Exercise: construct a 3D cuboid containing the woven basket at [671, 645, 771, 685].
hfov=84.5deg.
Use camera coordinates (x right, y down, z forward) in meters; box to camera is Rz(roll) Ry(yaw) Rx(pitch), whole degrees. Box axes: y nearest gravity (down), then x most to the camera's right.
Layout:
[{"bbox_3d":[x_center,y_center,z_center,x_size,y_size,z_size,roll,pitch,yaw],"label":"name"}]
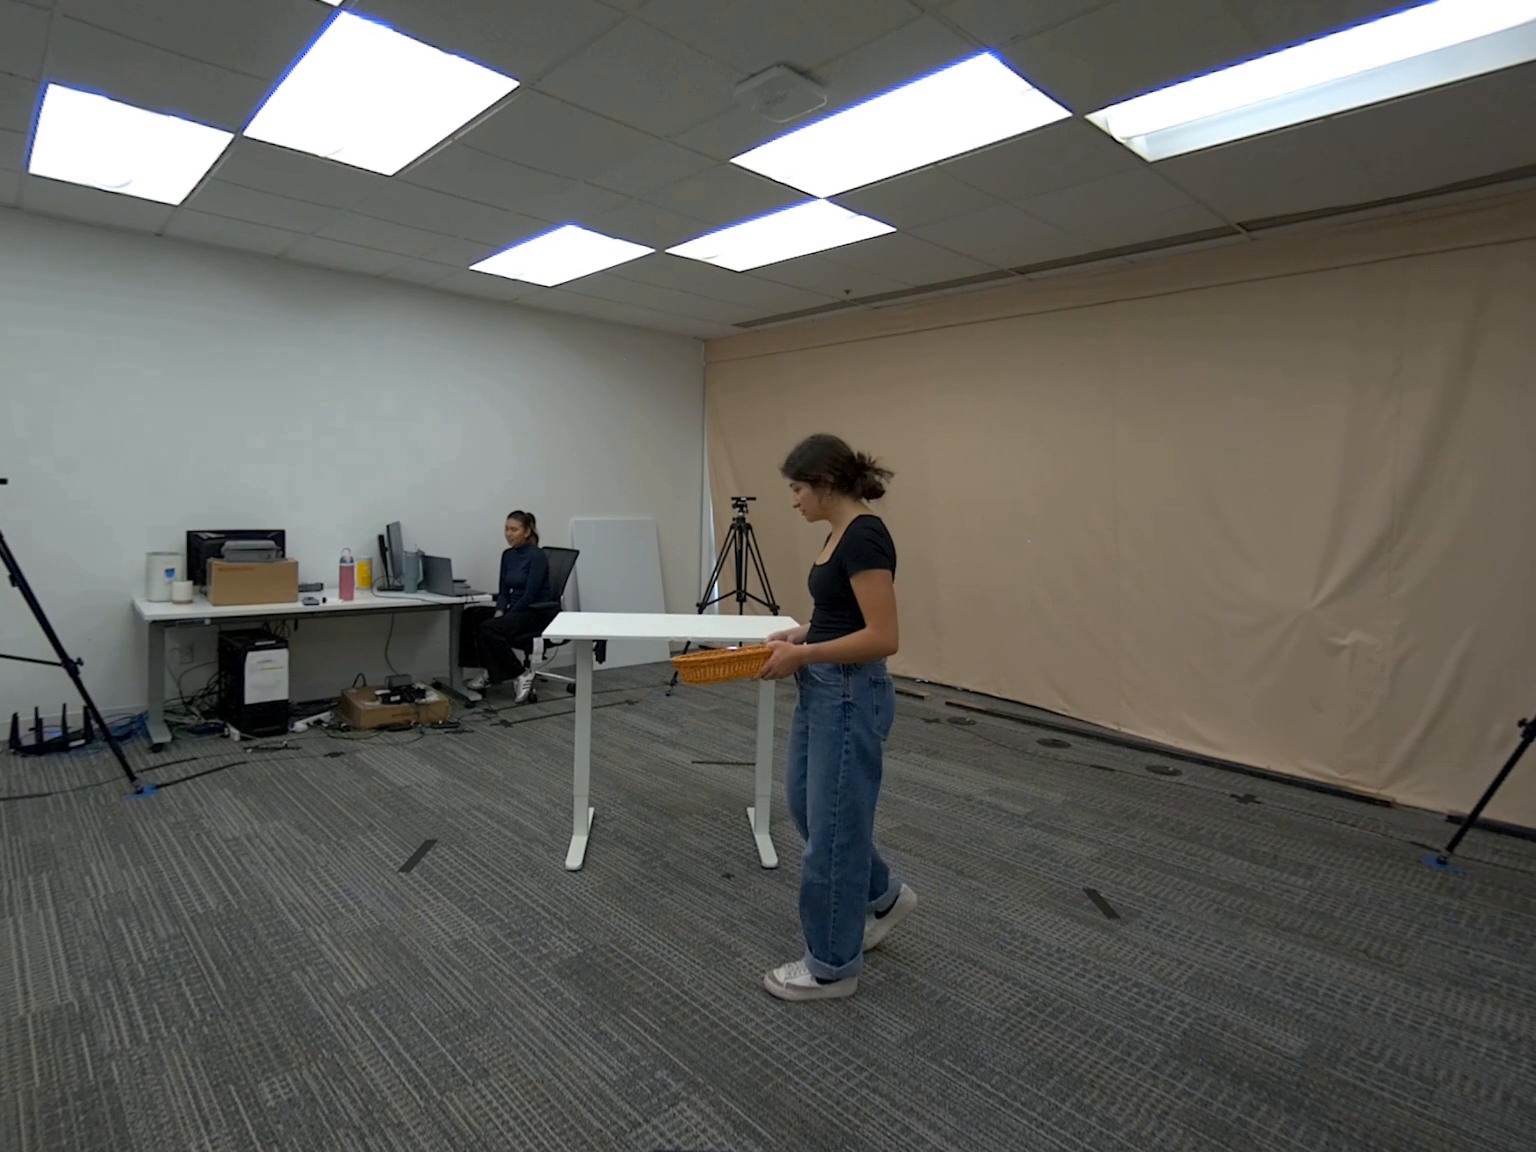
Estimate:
[{"bbox_3d":[-0.093,0.244,2.324,0.347,0.073,0.254,-7,0,-14],"label":"woven basket"}]
